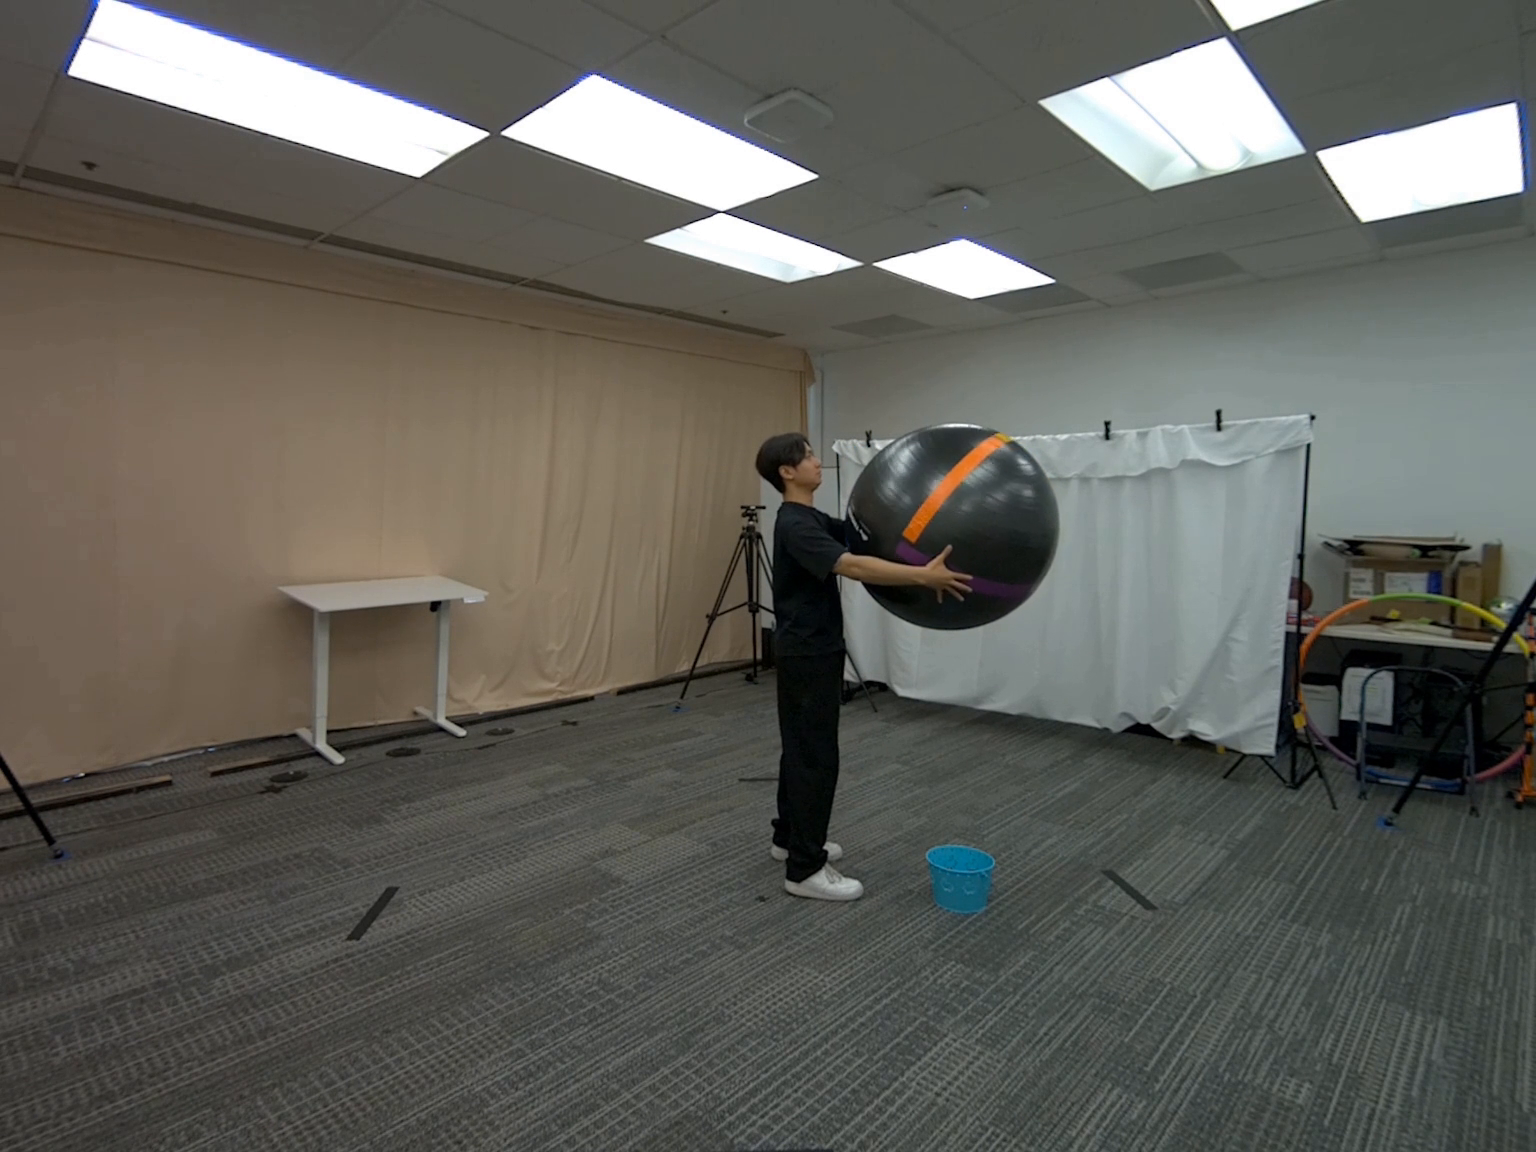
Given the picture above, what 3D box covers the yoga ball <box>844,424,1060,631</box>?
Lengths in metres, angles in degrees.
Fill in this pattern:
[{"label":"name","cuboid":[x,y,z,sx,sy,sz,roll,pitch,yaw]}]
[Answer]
[{"label":"yoga ball","cuboid":[0.689,-0.167,3.102,0.757,0.756,0.760,0,4,-2]}]
